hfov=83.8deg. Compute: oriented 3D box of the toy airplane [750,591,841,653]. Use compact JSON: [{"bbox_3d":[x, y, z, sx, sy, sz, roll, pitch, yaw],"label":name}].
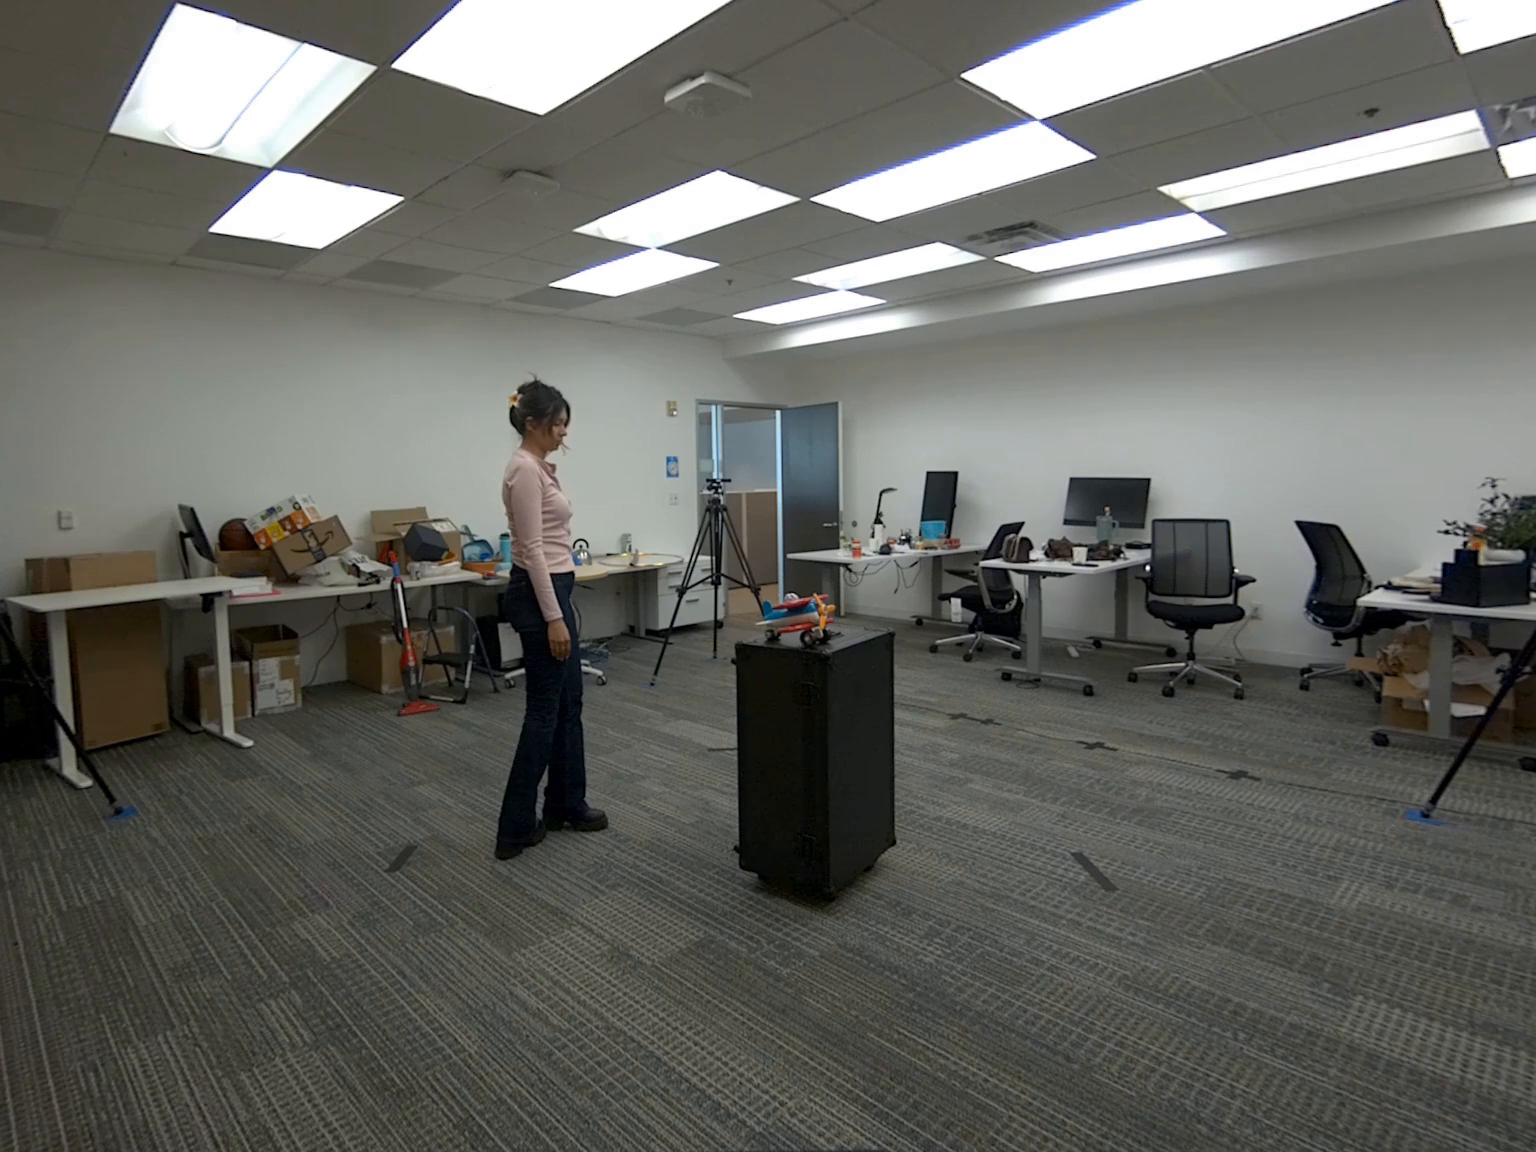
[{"bbox_3d":[0.094,0.145,2.834,0.262,0.156,0.249,1,5,12],"label":"toy airplane"}]
